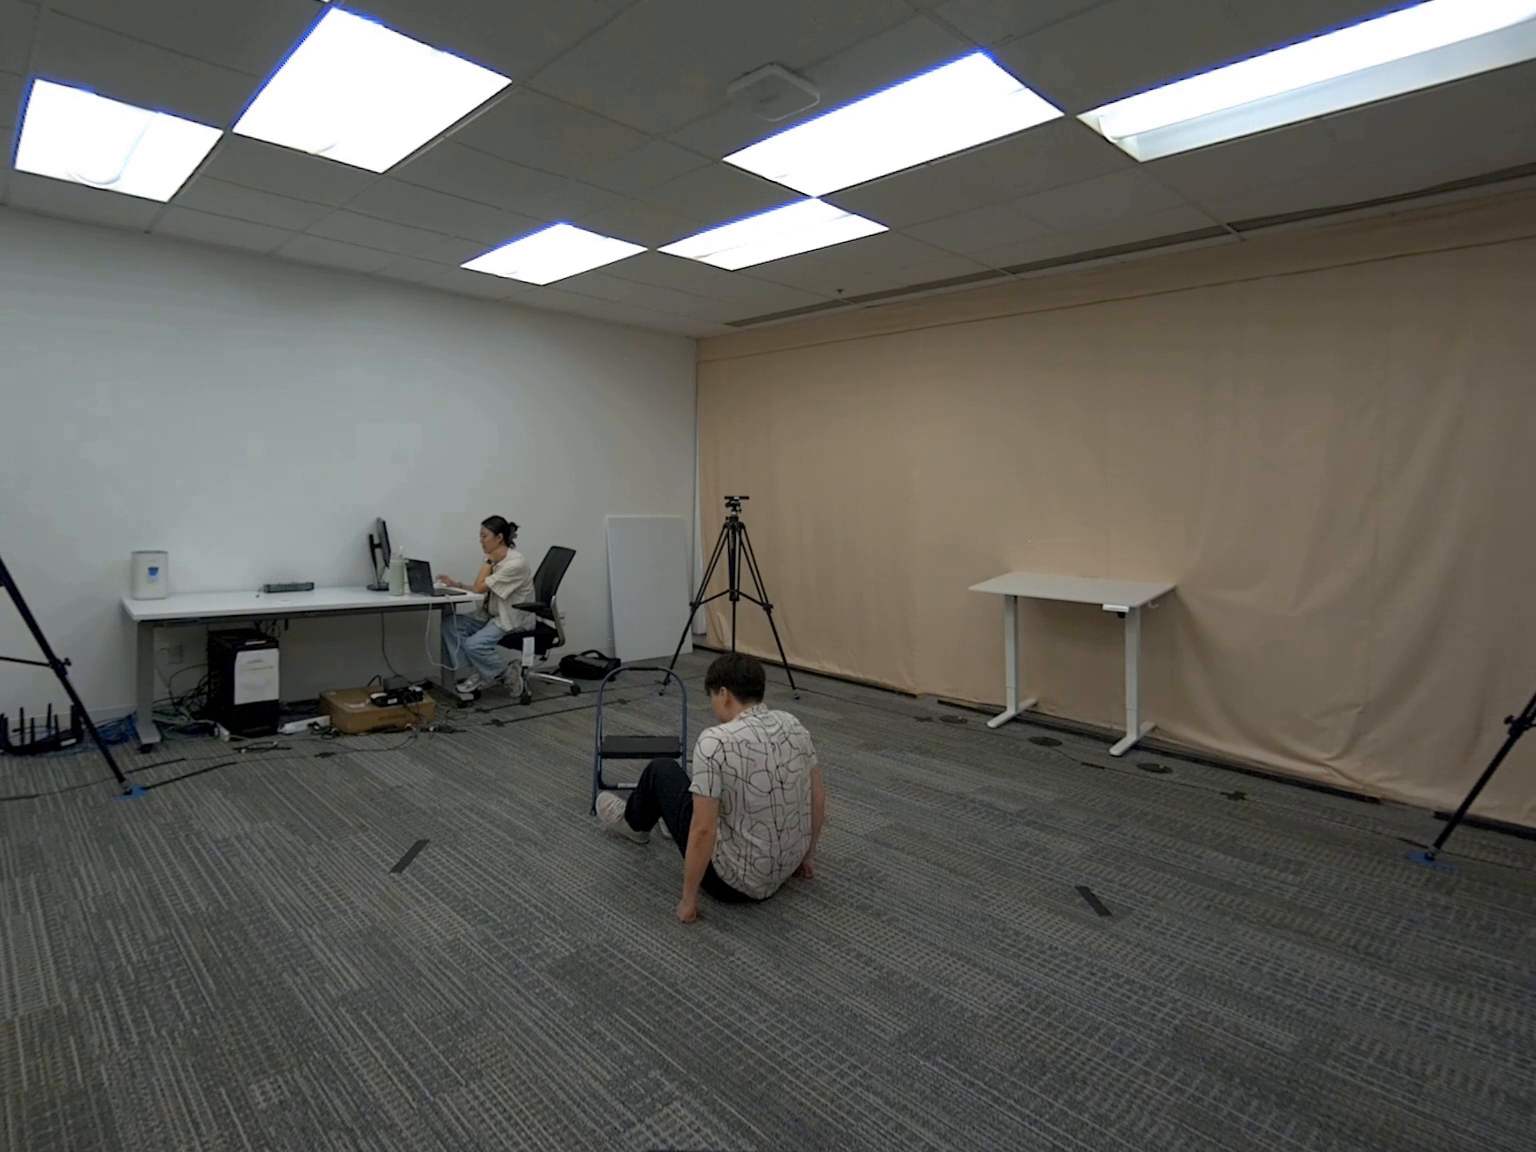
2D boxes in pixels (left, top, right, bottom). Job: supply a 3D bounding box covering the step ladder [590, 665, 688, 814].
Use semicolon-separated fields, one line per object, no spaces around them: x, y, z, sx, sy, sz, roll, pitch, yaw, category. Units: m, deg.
-0.587;0.730;3.840;0.428;0.604;0.352;2;4;-6;step ladder
